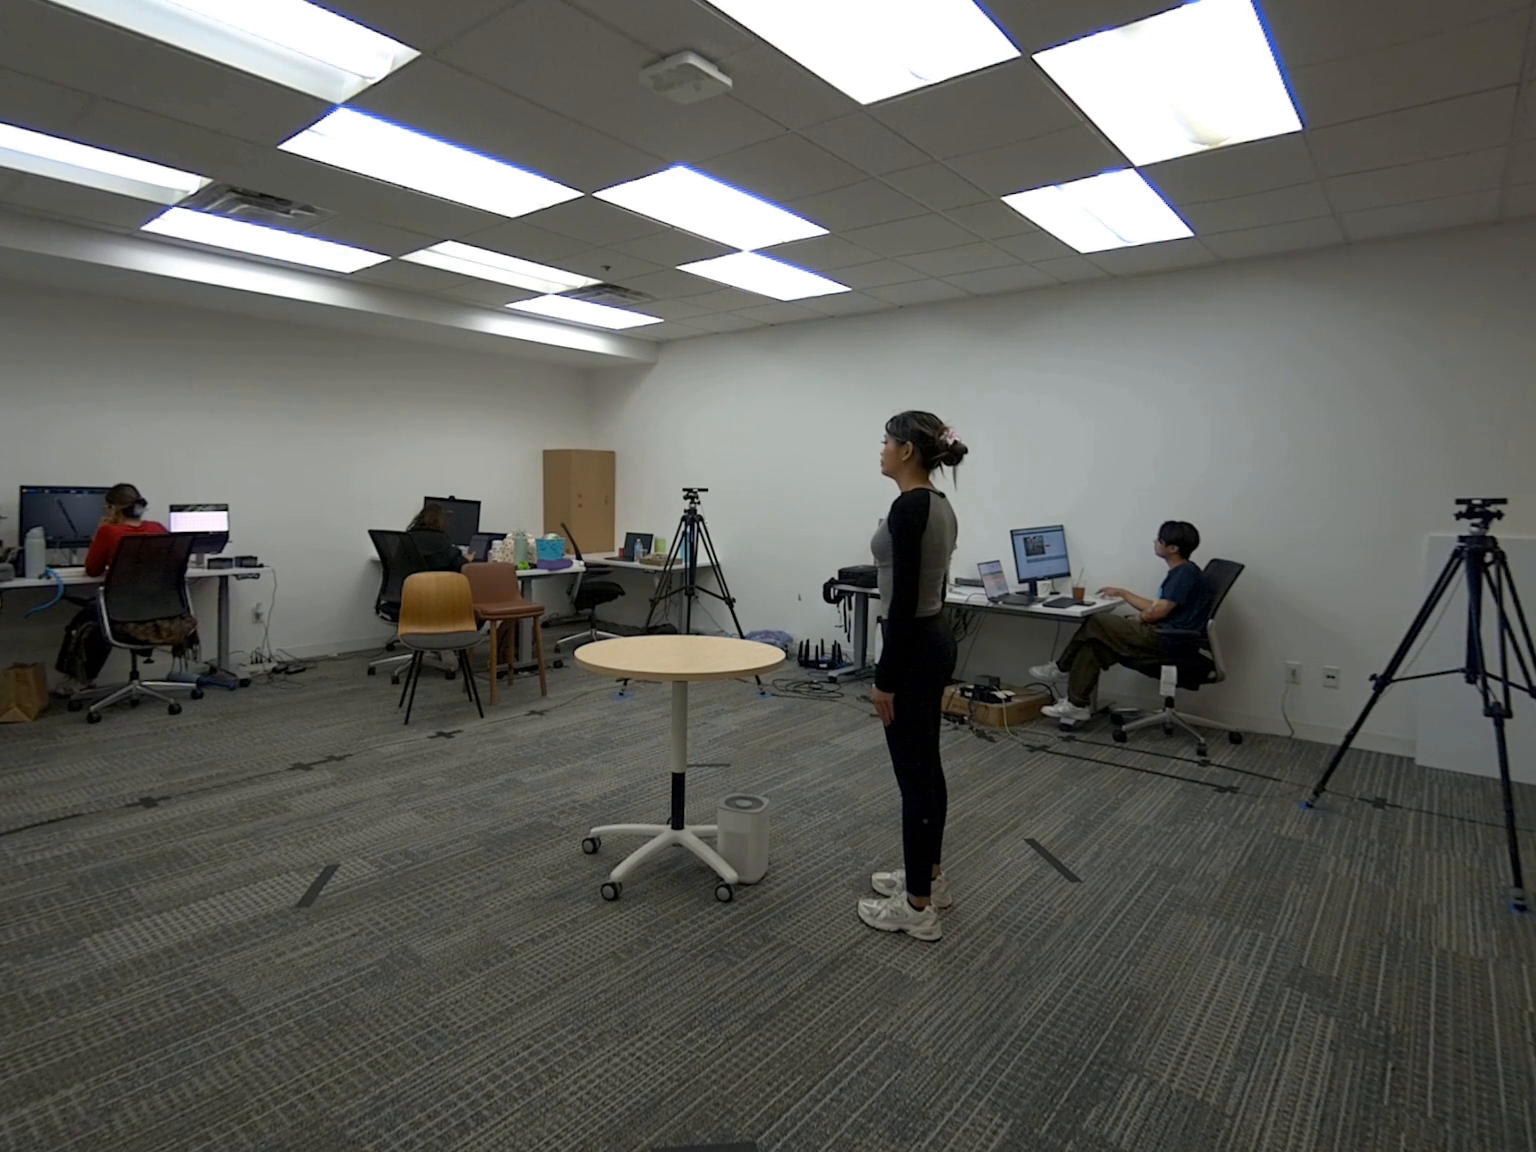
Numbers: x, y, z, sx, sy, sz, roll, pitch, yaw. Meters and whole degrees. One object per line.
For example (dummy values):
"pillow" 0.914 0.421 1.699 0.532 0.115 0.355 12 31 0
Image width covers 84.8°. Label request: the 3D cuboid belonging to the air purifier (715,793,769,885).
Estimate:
"air purifier" -0.094 0.940 3.065 0.175 0.264 0.168 2 4 18
